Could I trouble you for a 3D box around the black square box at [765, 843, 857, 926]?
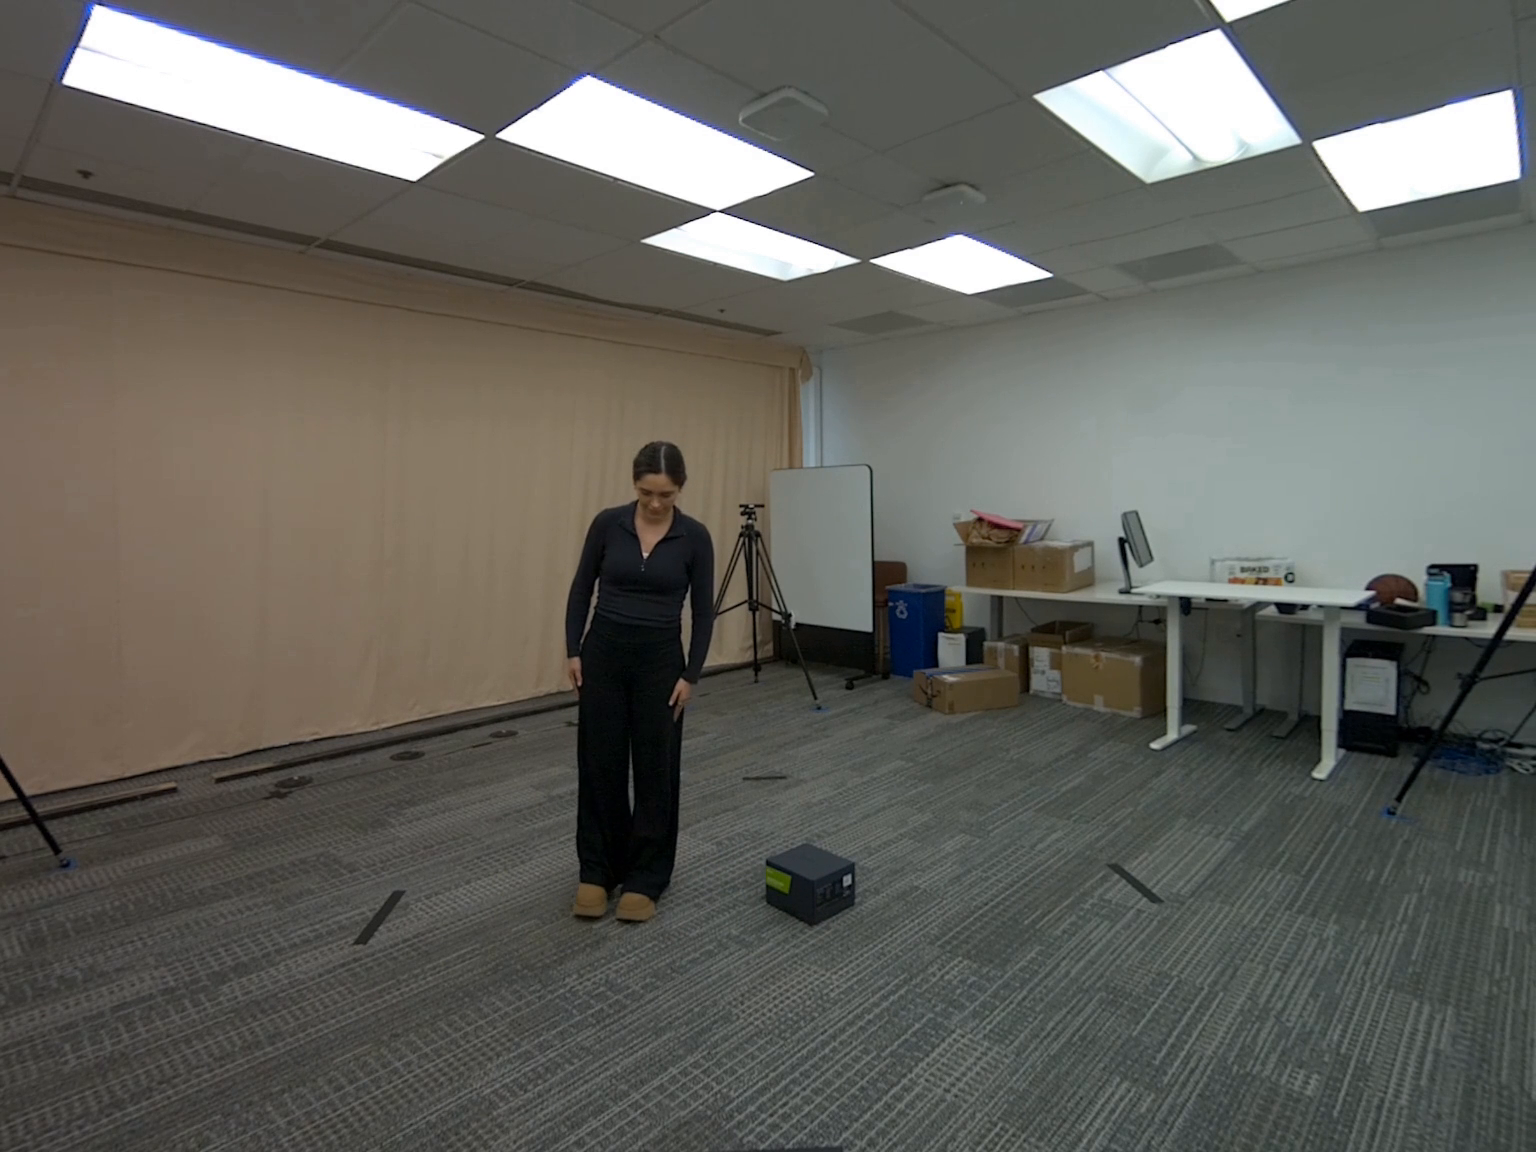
[{"bbox_3d":[0.149,1.063,2.913,0.210,0.155,0.235,-6,7,-43],"label":"black square box"}]
